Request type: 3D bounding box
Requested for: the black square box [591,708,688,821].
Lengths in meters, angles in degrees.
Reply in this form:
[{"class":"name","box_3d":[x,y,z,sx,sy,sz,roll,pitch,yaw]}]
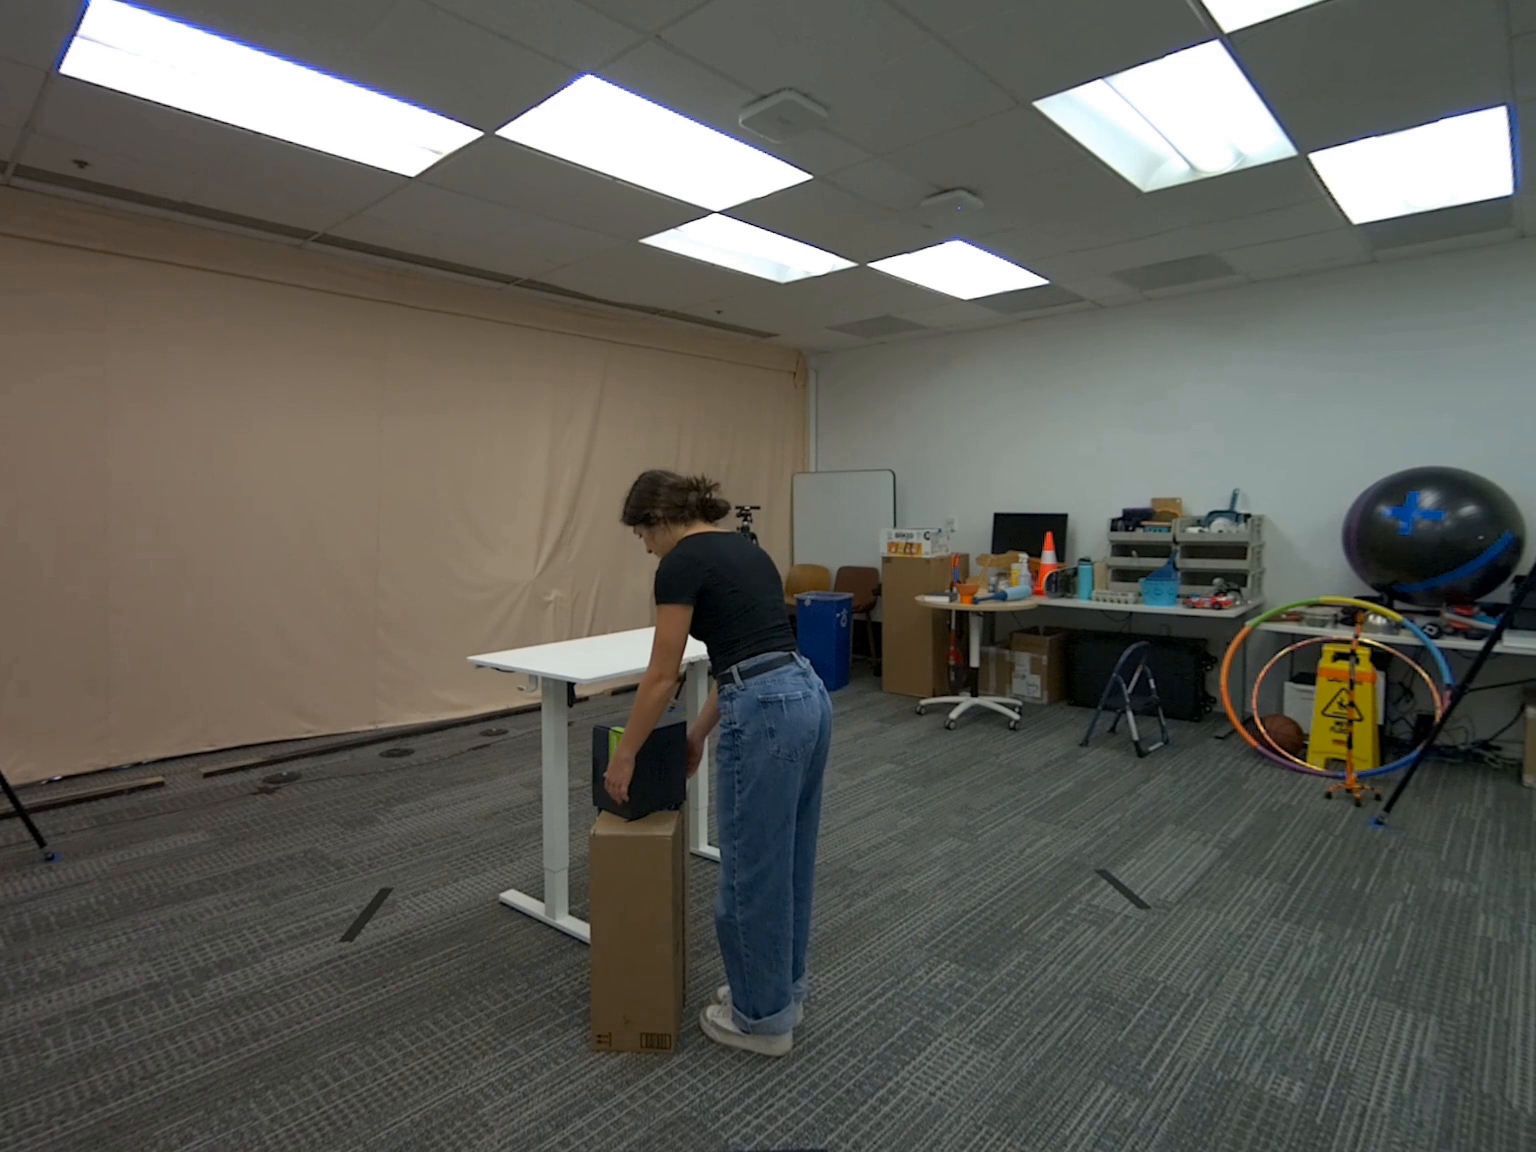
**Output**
[{"class":"black square box","box_3d":[-0.358,0.520,2.346,0.161,0.227,0.210,2,4,45]}]
